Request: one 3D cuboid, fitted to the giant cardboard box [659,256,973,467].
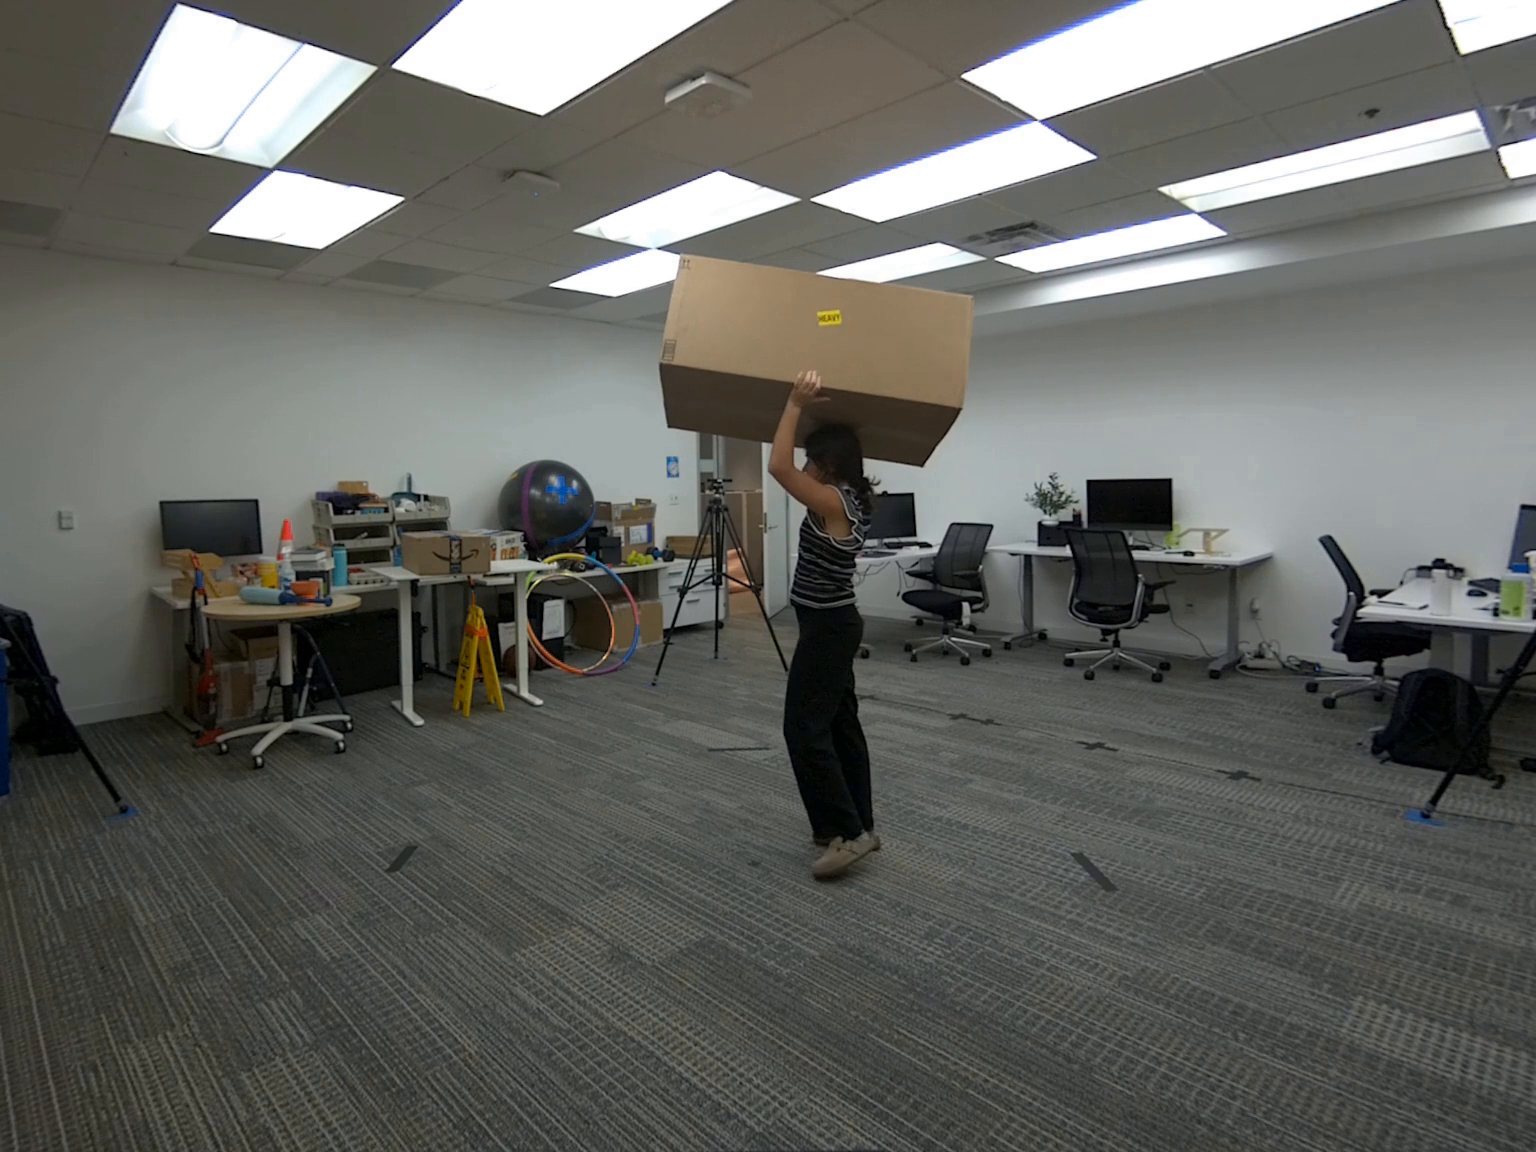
[{"bbox_3d":[0.145,-0.774,3.152,1.028,0.430,0.570,10,-13,2],"label":"giant cardboard box"}]
